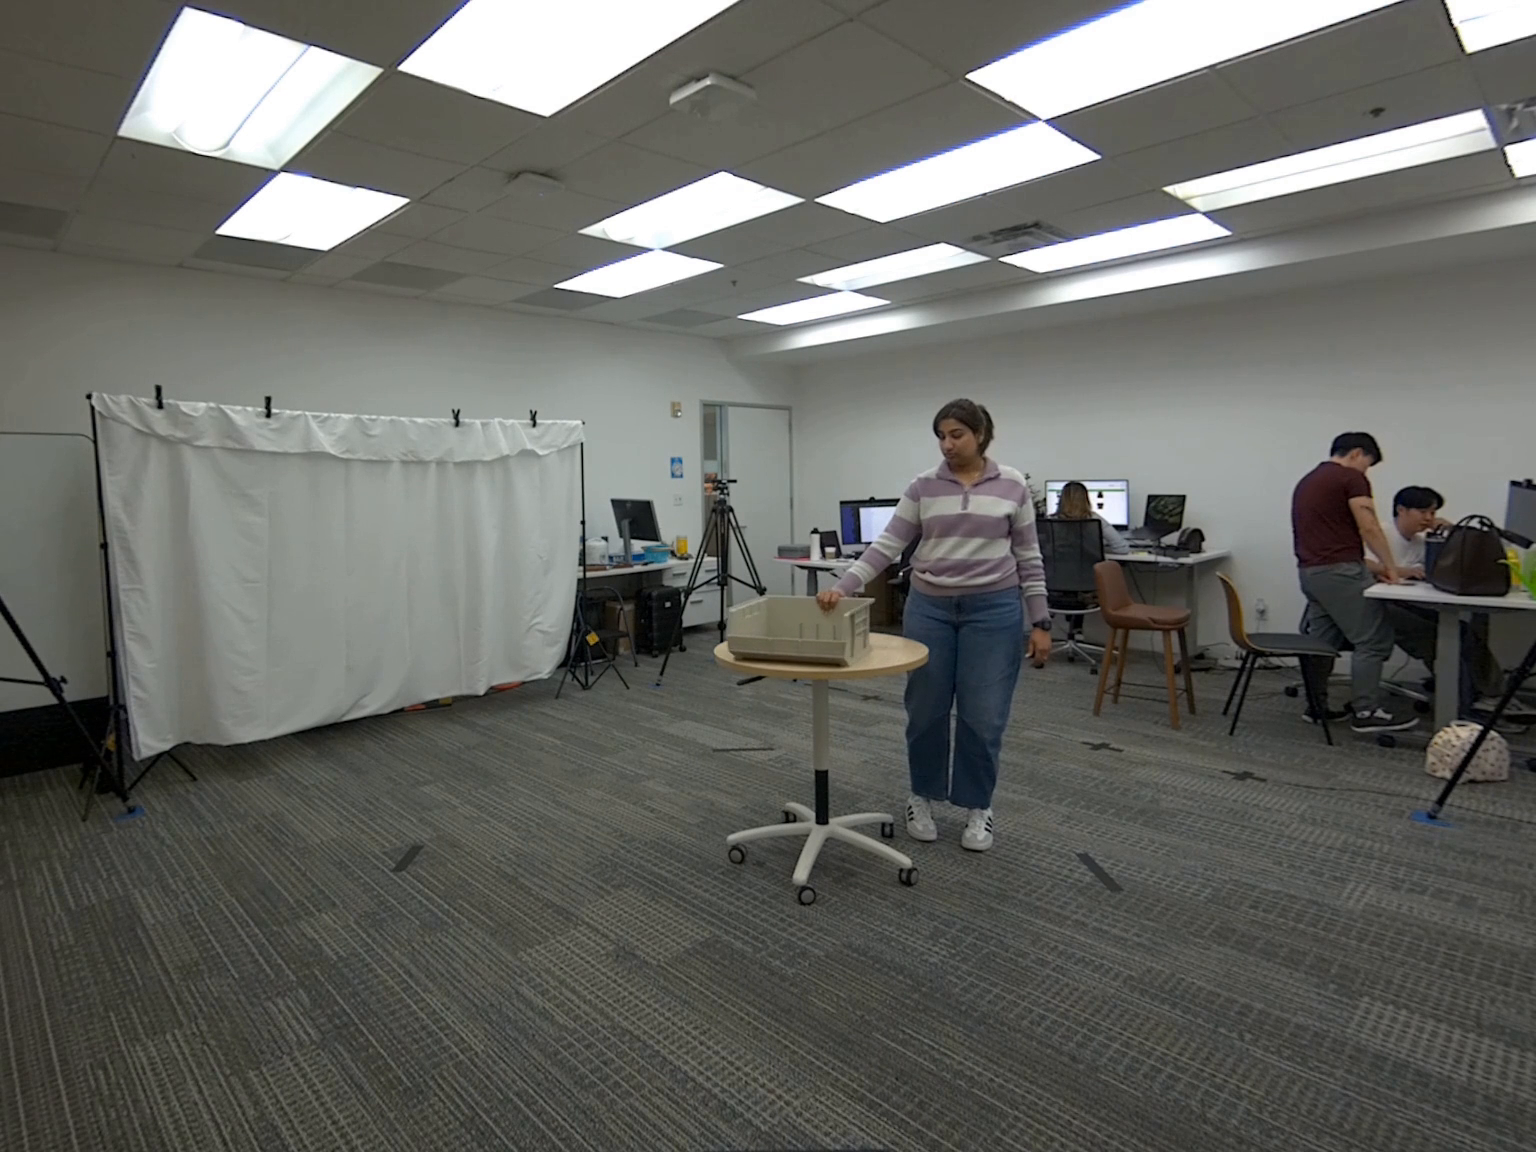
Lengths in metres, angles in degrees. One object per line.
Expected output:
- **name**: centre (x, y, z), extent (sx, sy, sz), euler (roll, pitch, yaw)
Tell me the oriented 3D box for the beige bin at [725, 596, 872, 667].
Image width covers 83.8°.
- **beige bin**: centre (0.119, 0.187, 2.963), extent (0.431, 0.188, 0.371), euler (0, 4, 22)
